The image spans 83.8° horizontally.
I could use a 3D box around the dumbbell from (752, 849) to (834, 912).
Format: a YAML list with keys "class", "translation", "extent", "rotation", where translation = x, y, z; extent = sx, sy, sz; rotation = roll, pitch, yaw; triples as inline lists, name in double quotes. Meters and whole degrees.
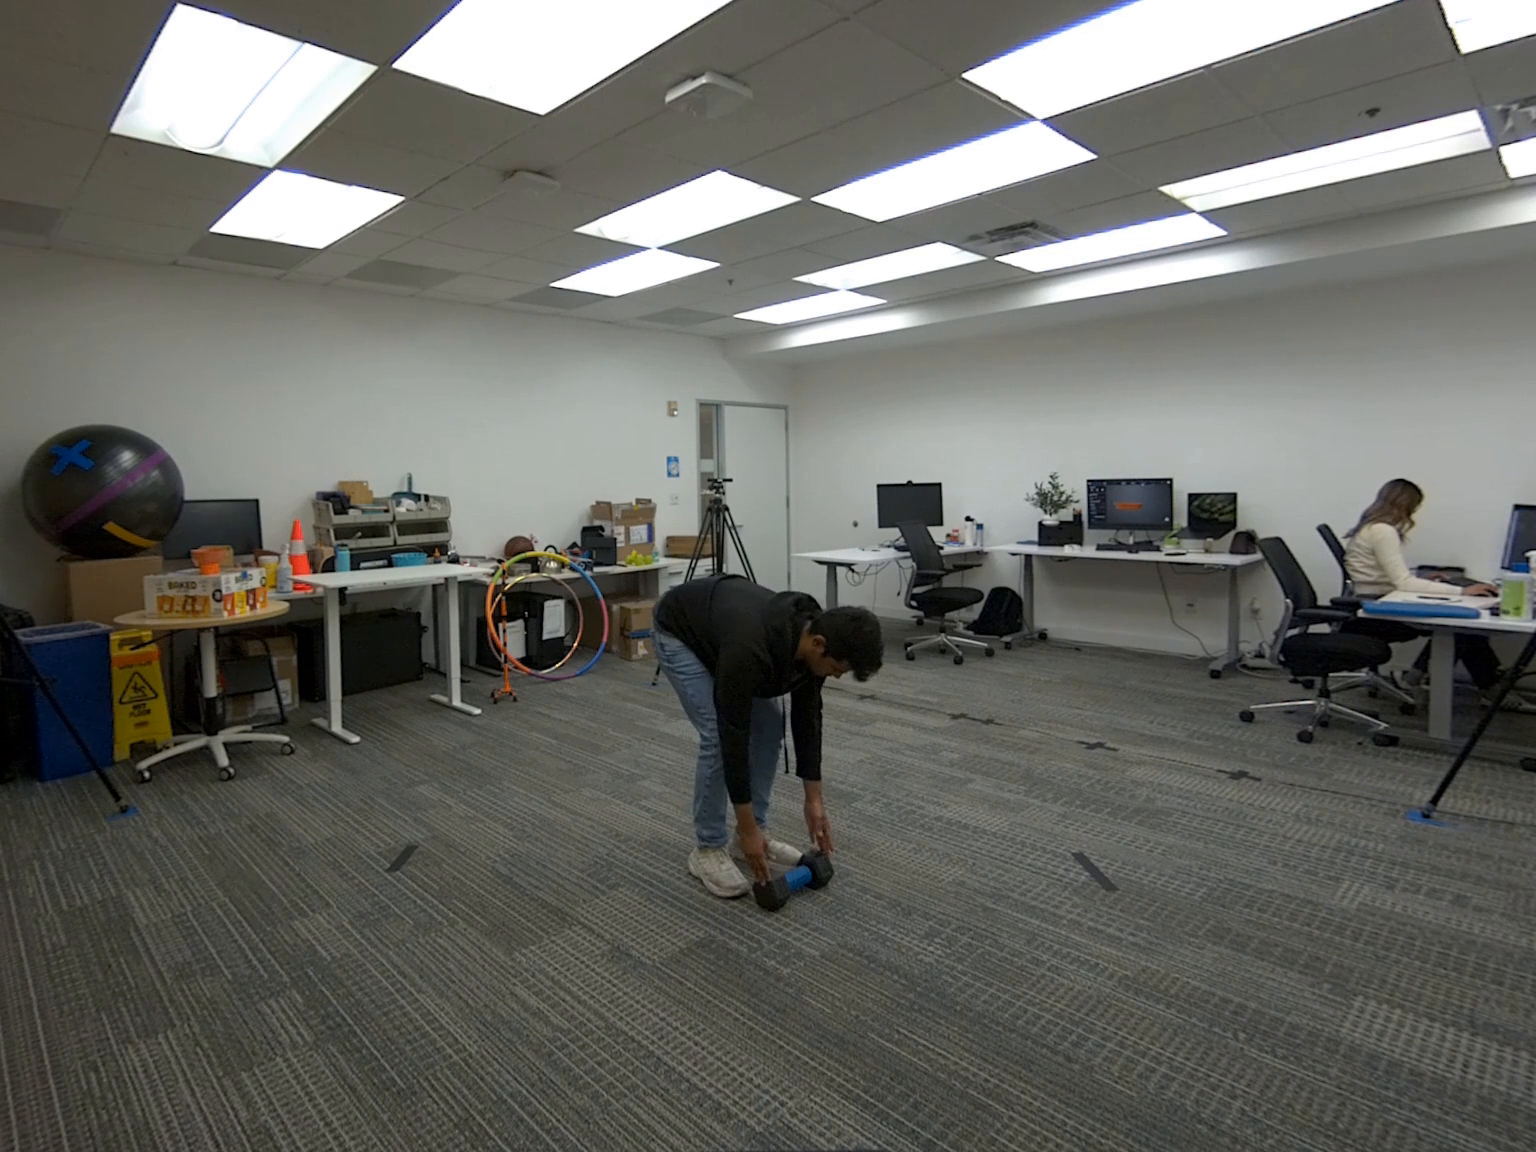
- class: "dumbbell"
  translation: [0.086, 1.013, 2.864]
  extent: [0.286, 0.121, 0.113]
  rotation: [-6, 40, -43]
